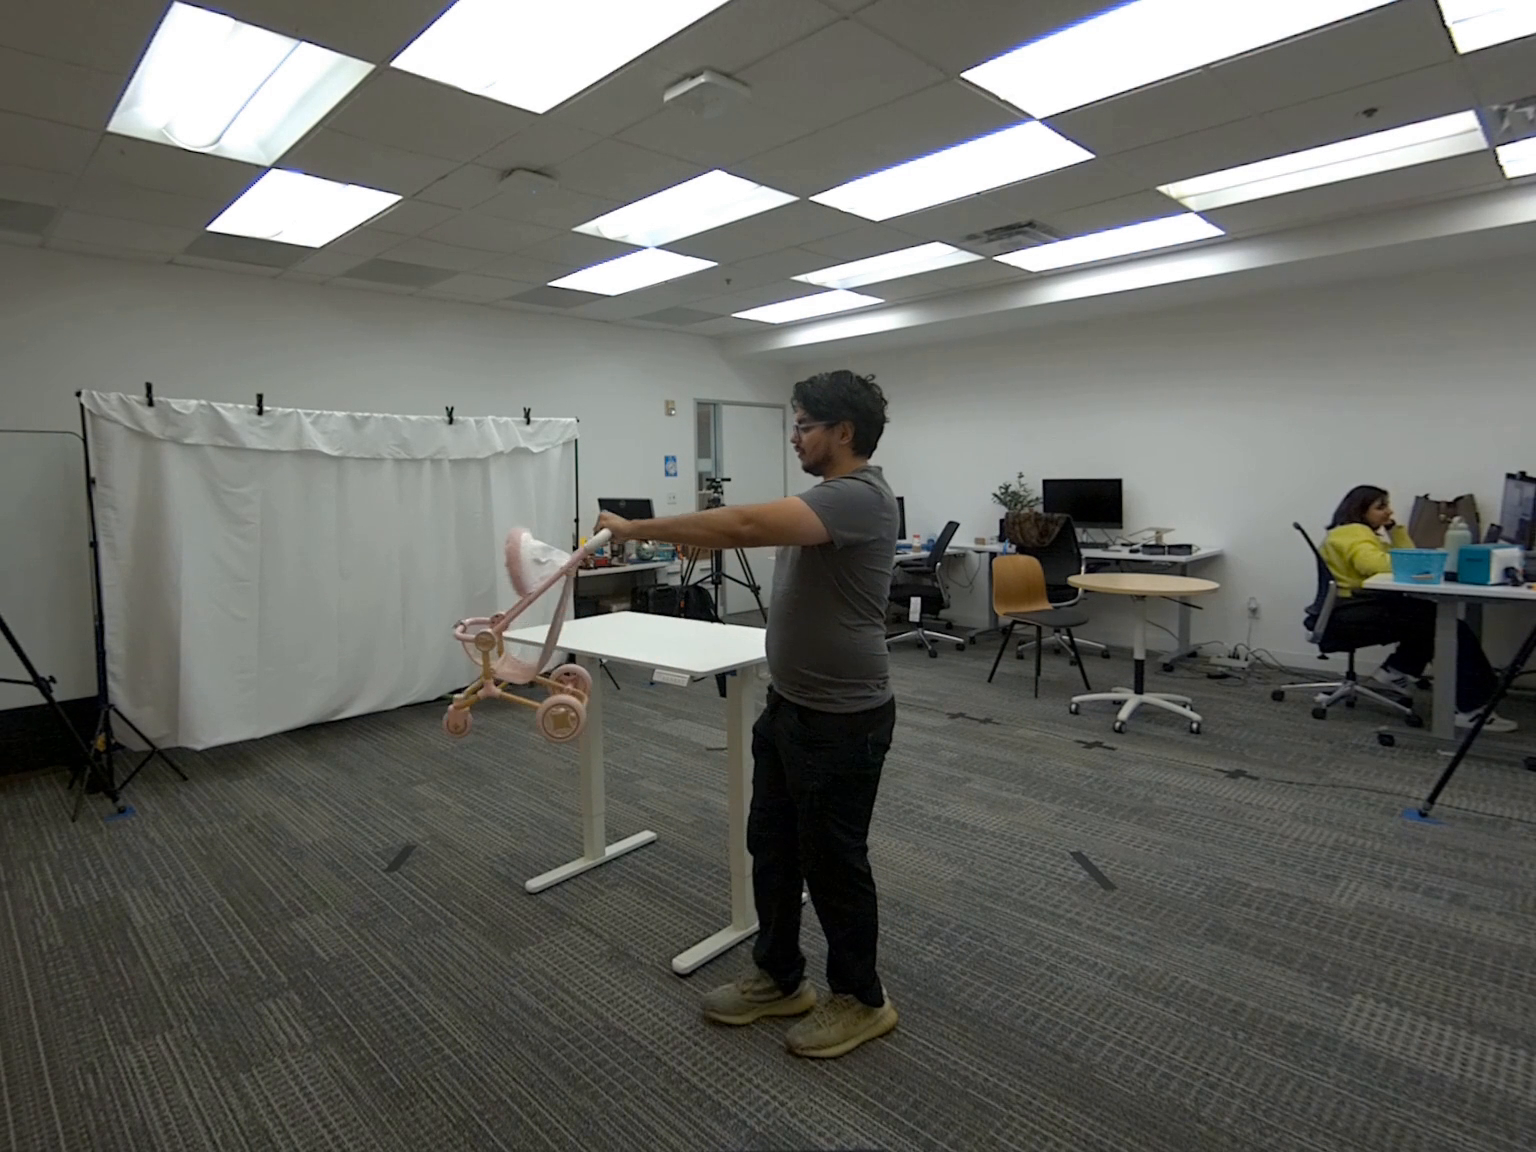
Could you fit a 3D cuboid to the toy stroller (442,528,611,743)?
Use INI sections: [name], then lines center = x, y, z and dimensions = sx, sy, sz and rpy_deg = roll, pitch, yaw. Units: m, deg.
[toy stroller]
center = -0.550, 0.130, 1.956
dimensions = 0.340, 0.532, 0.284
rpy_deg = 7, 7, -3
